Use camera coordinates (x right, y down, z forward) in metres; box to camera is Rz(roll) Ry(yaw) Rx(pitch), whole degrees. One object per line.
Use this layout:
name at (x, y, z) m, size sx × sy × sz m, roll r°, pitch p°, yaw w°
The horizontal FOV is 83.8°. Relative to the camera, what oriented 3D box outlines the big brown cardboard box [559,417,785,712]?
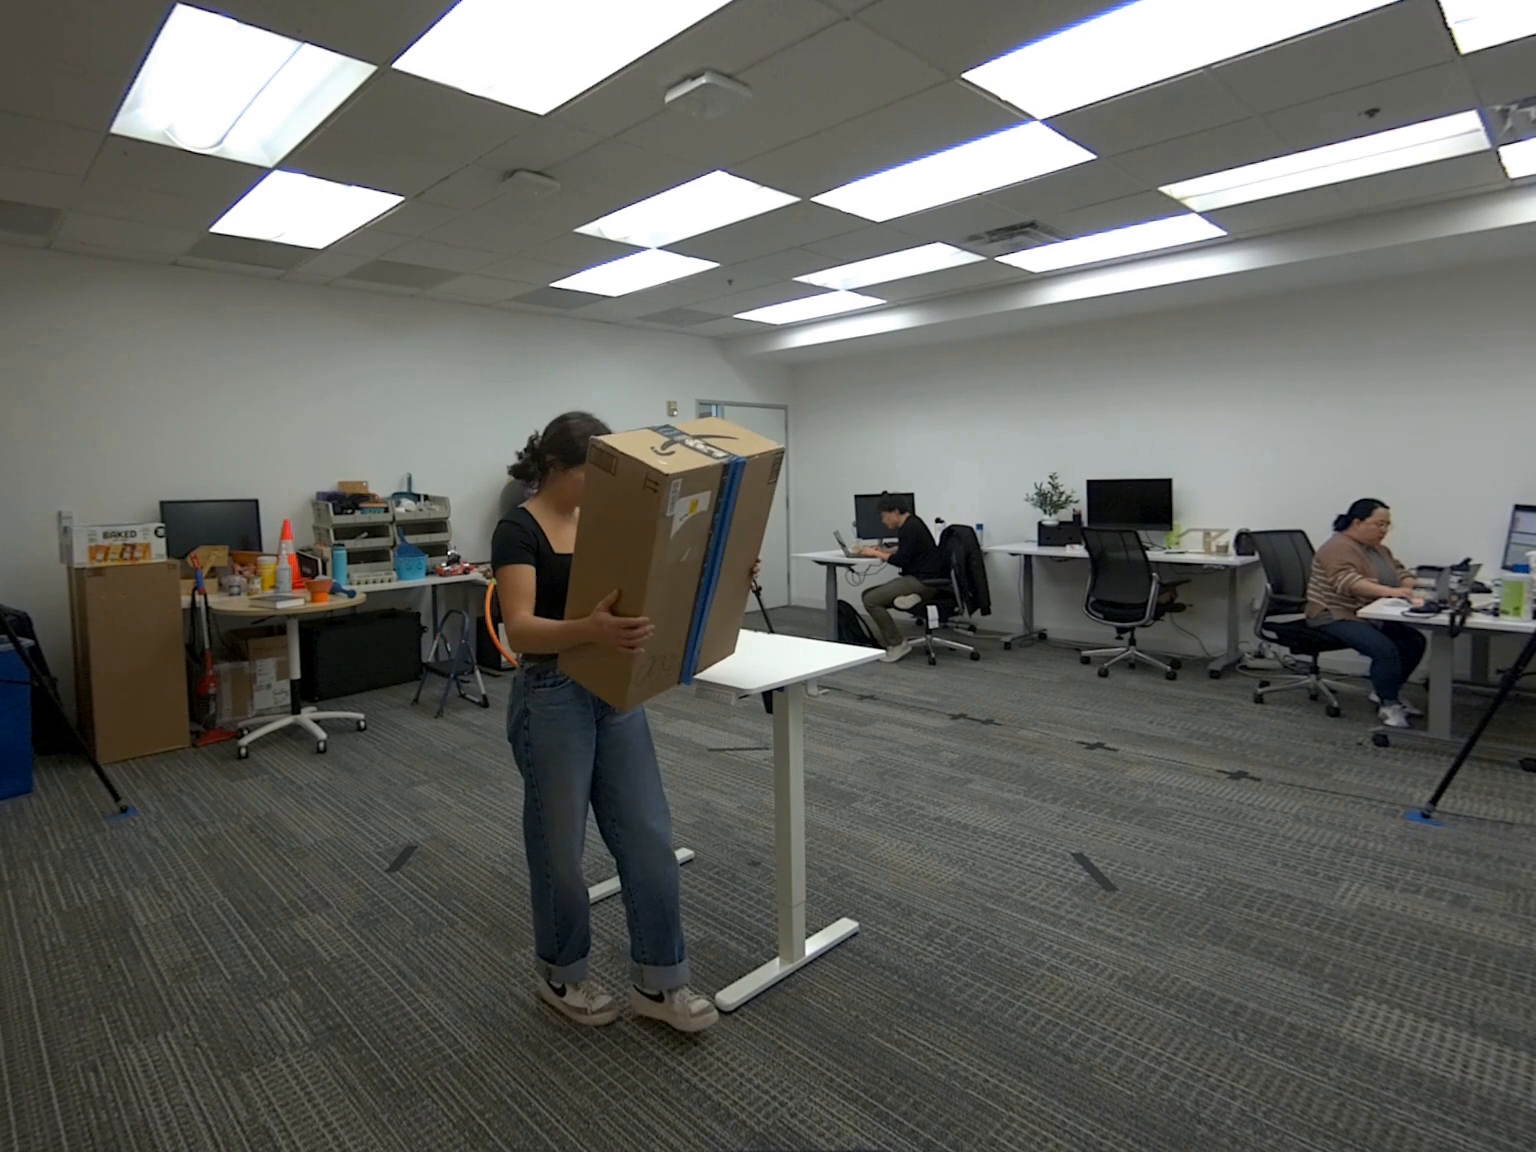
big brown cardboard box at (-0.208, -0.043, 1.930) m, size 0.240 × 0.580 × 0.411 m, roll 27°, pitch 28°, yaw 26°
